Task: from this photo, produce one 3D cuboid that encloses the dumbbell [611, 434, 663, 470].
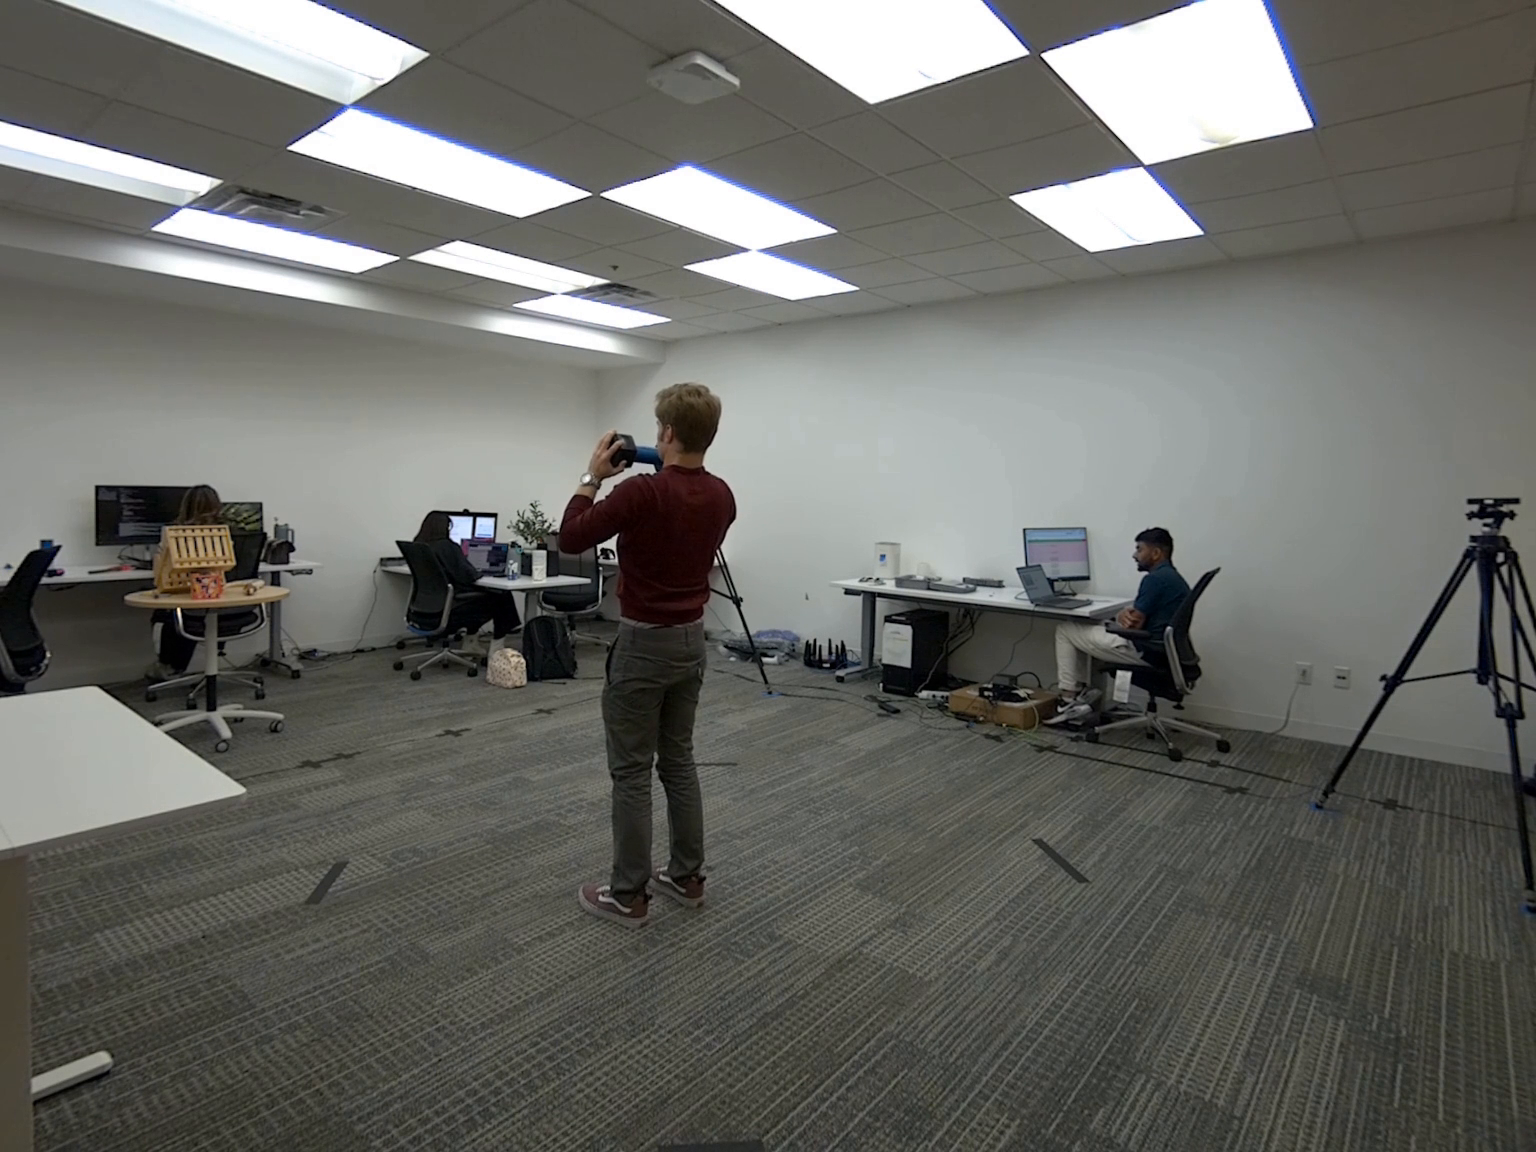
[{"bbox_3d":[-0.430,-0.399,2.860,0.284,0.122,0.113,3,27,-44],"label":"dumbbell"}]
